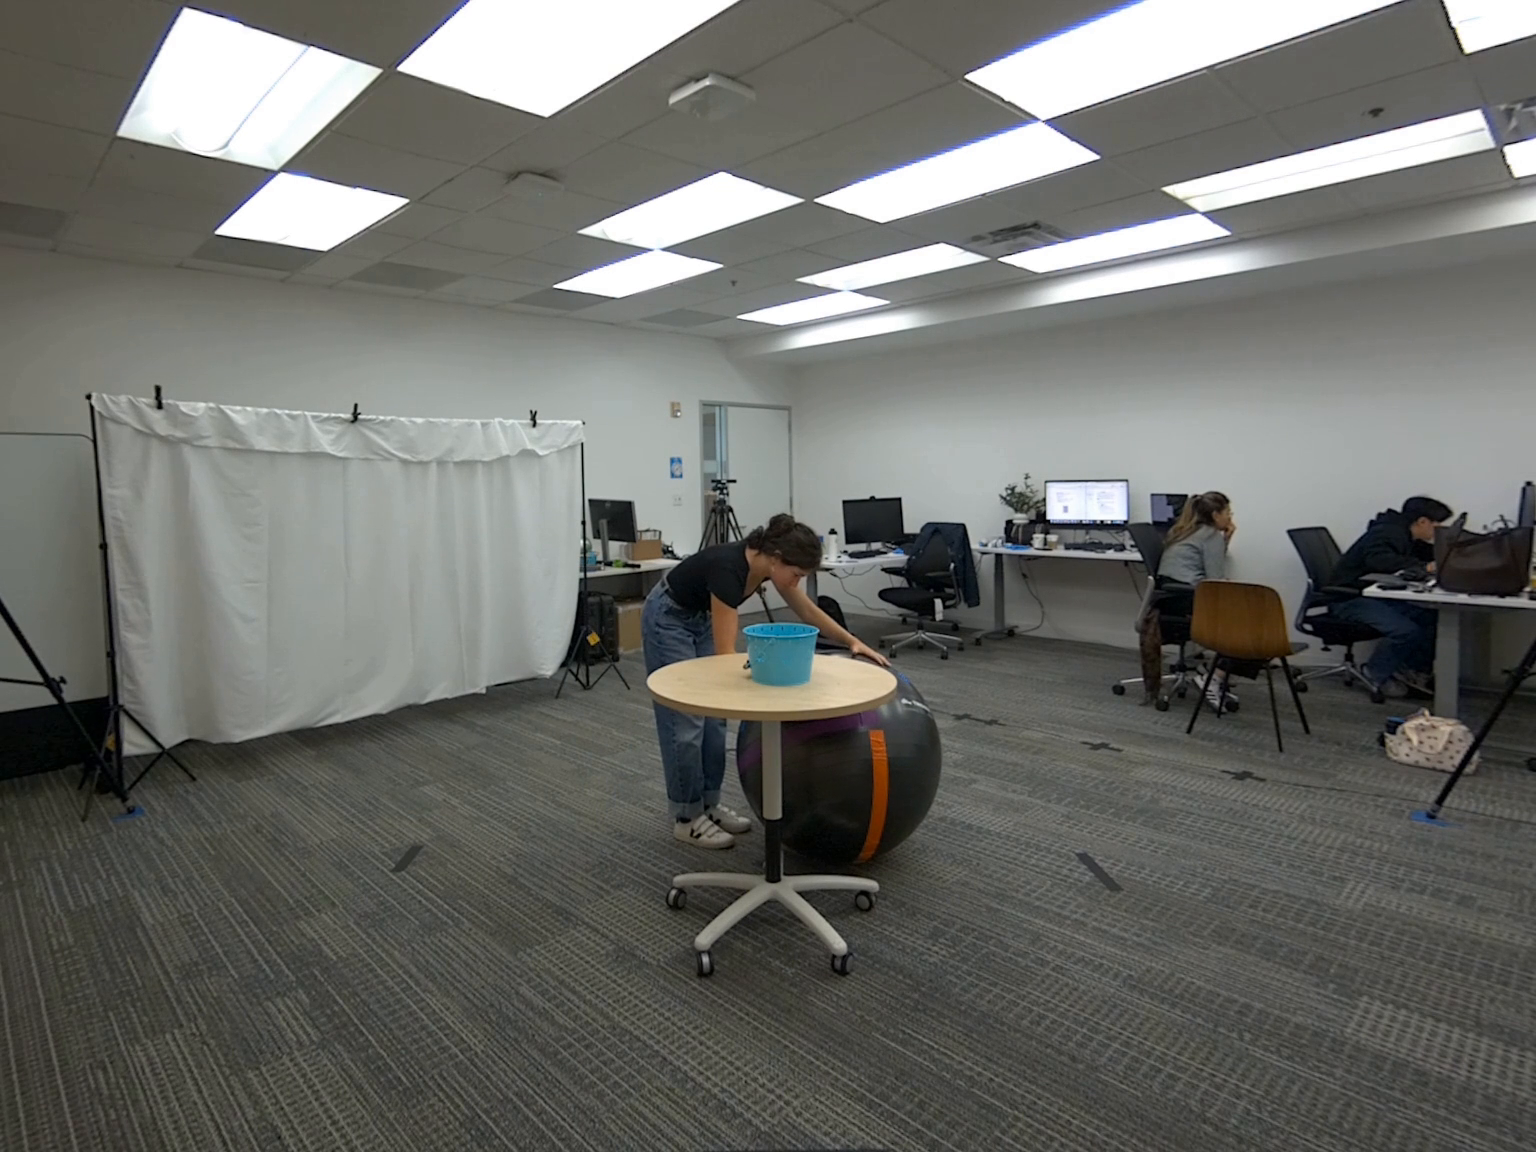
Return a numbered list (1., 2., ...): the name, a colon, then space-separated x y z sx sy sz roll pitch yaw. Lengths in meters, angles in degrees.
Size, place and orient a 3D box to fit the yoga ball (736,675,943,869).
1. yoga ball: 0.260 0.672 3.190 0.757 0.755 0.762 -1 5 -2
